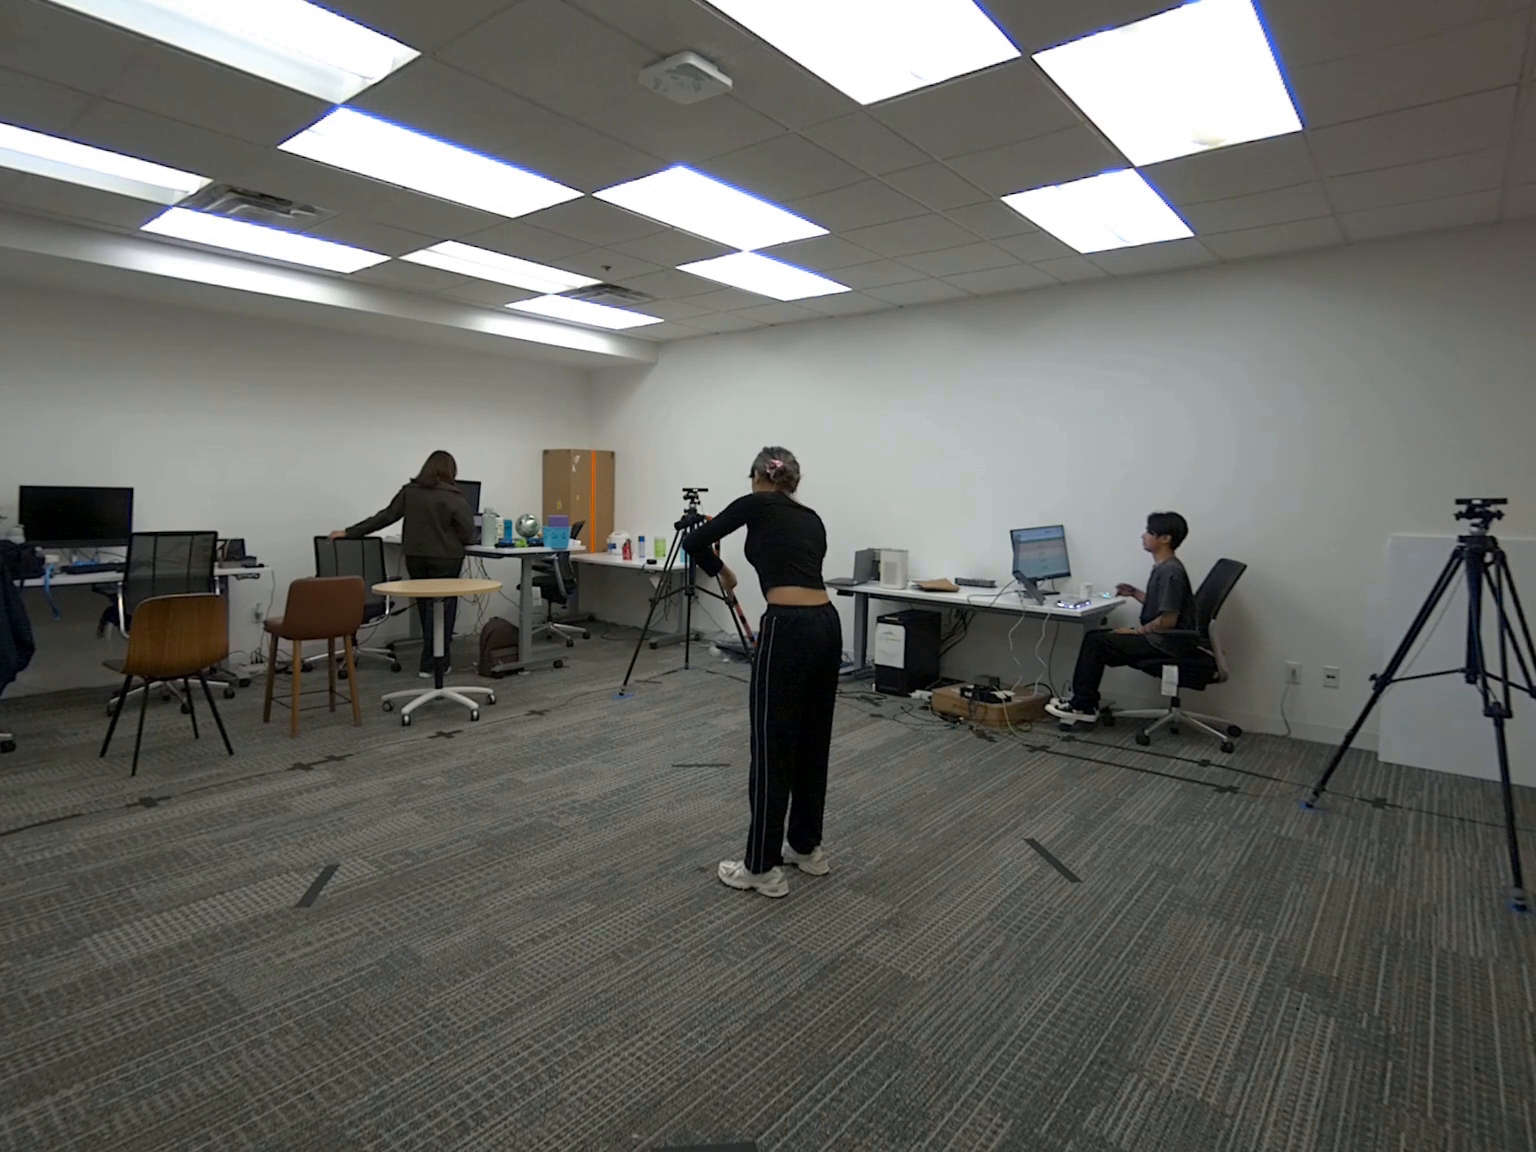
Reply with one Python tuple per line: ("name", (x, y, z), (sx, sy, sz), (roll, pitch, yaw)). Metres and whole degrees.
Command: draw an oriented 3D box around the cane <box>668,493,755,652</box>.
("cane", (-0.111, 0.170, 3.350), (0.208, 0.893, 0.153), (-19, 13, 13))
